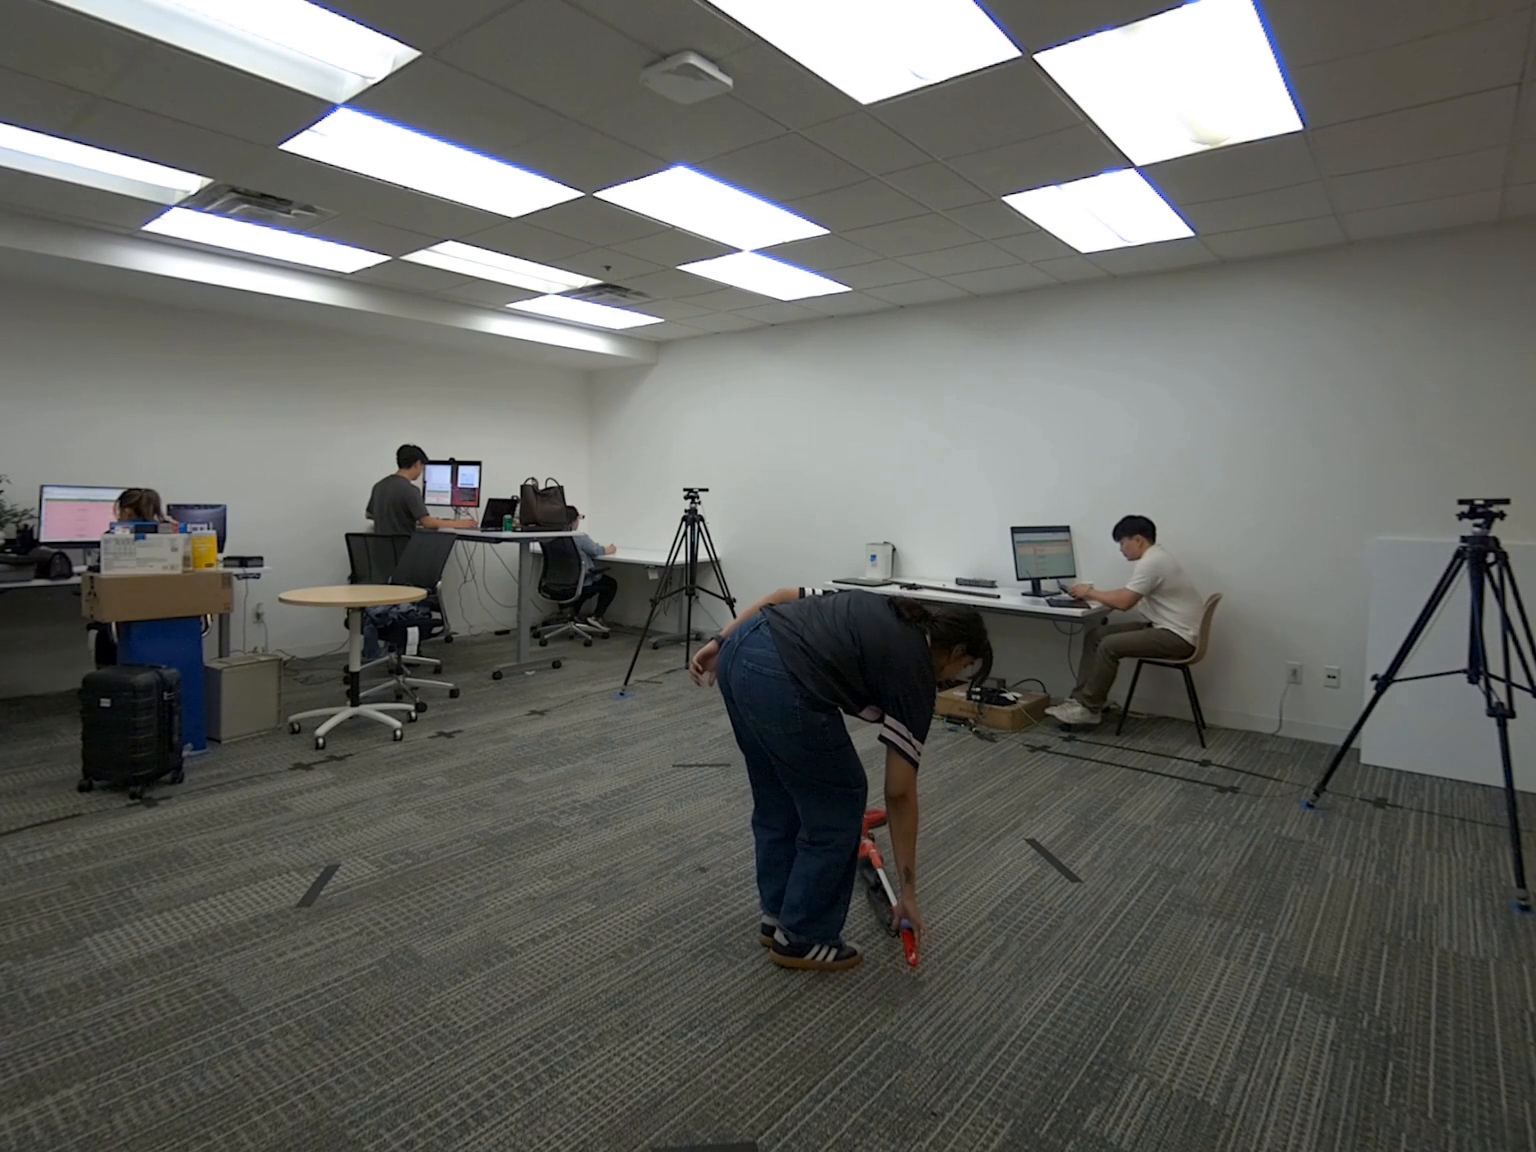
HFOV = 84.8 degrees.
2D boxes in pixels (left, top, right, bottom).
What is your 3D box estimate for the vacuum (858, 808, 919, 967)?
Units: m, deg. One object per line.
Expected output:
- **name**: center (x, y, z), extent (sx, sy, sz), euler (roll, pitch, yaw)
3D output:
- **vacuum**: center (0.362, 1.020, 2.841), extent (0.252, 0.143, 1.054), euler (0, 4, -3)
